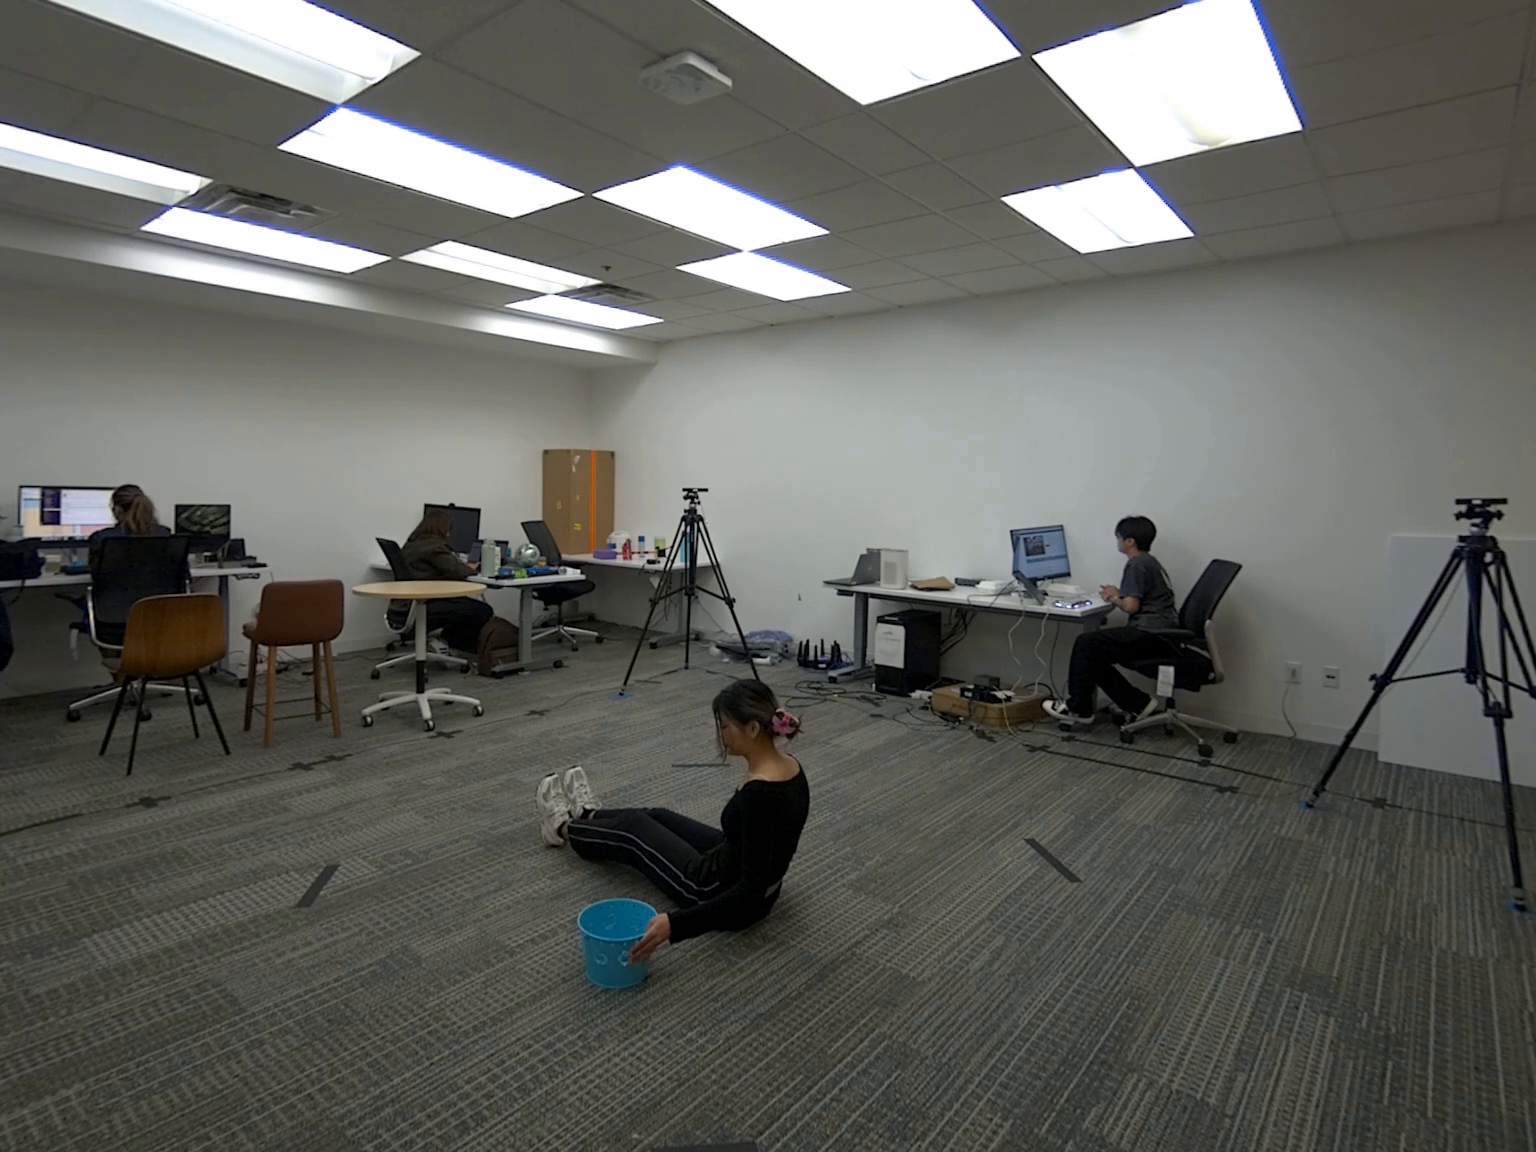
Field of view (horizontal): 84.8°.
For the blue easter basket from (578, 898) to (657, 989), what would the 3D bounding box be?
[{"bbox_3d":[-0.442,1.052,2.456,0.243,0.155,0.245,0,6,-2],"label":"blue easter basket"}]
